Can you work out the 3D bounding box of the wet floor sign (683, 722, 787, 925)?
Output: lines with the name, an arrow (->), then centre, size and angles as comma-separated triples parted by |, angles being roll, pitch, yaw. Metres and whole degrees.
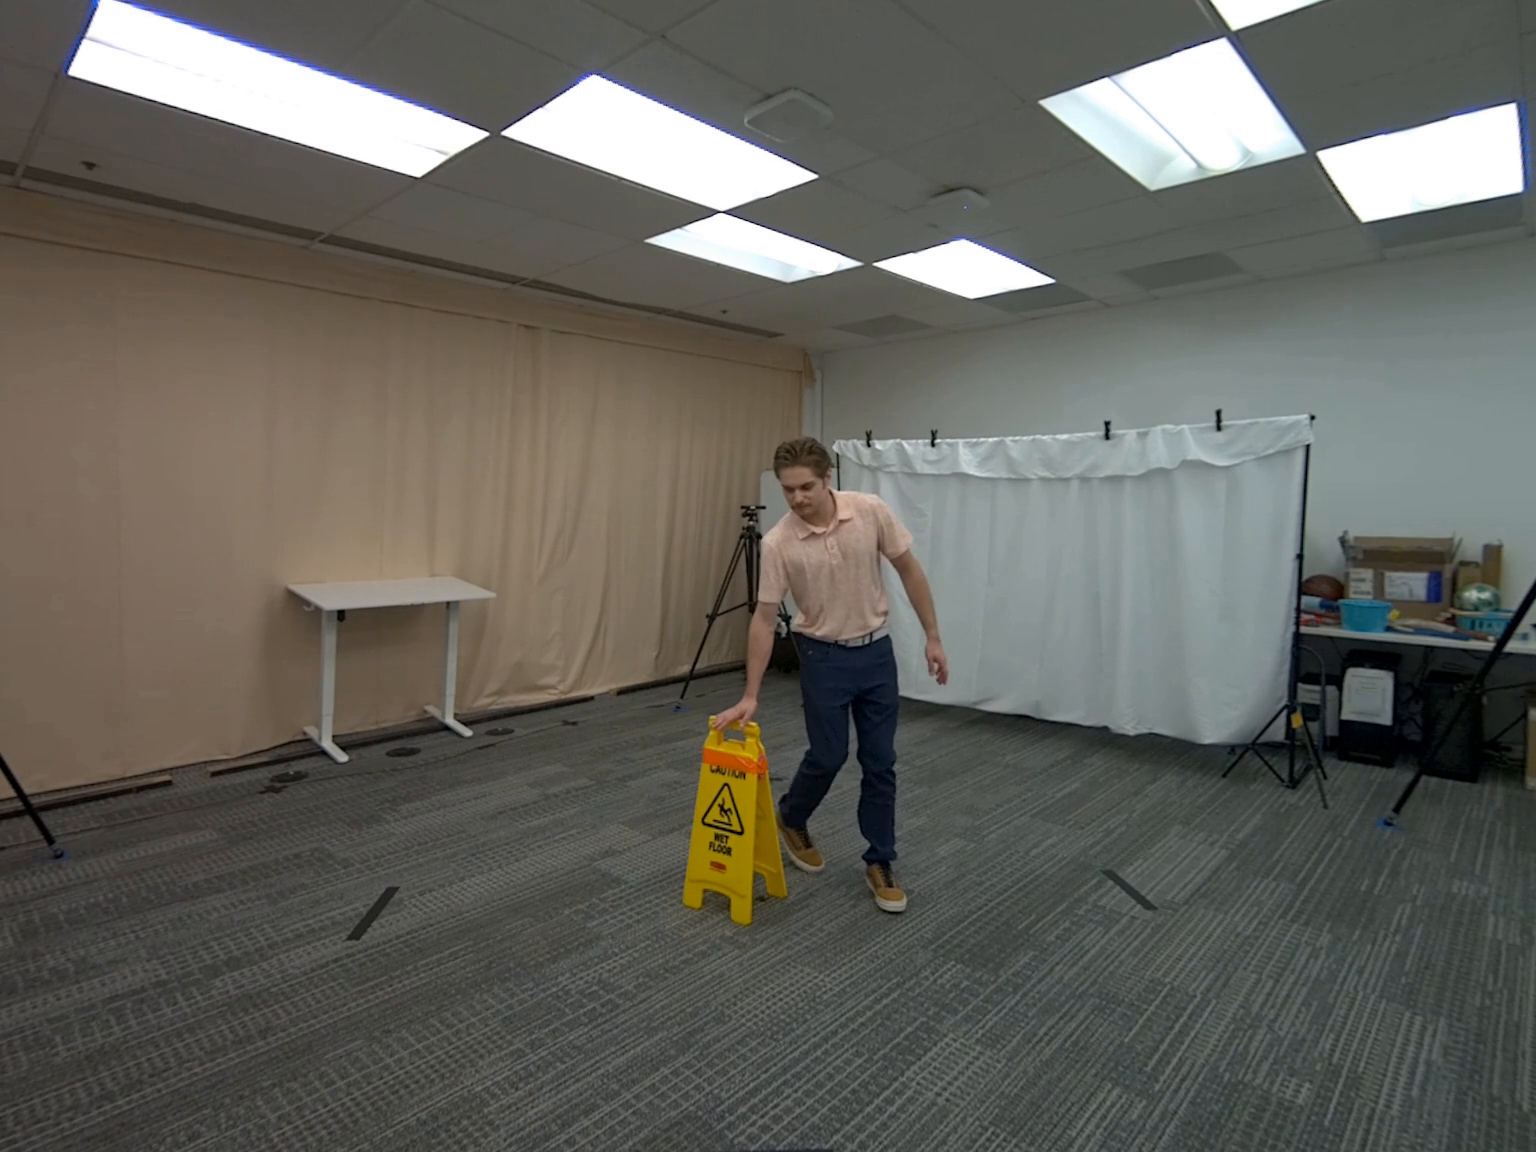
wet floor sign -> -0.108, 0.823, 2.962 | 0.291, 0.645, 0.281 | 2, 4, 34
